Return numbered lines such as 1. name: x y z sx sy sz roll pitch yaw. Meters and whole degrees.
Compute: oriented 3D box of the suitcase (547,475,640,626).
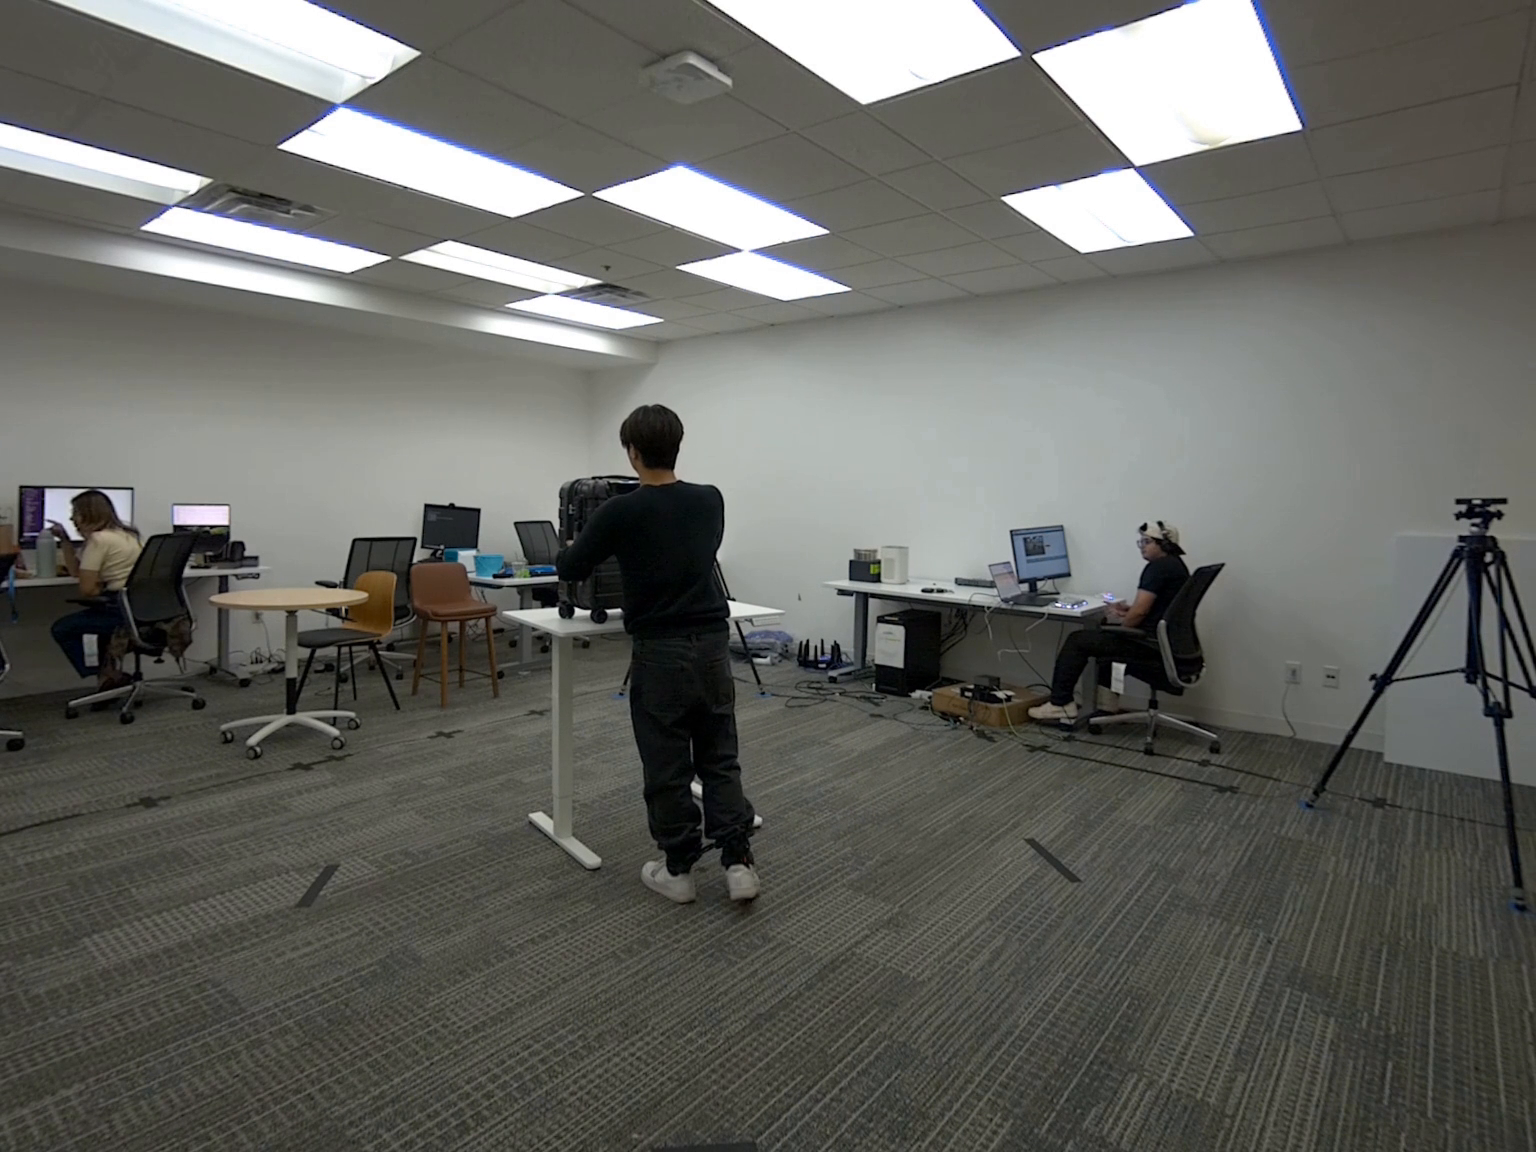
1. suitcase: -0.631 -0.117 3.321 0.364 0.548 0.256 -5 4 -44
